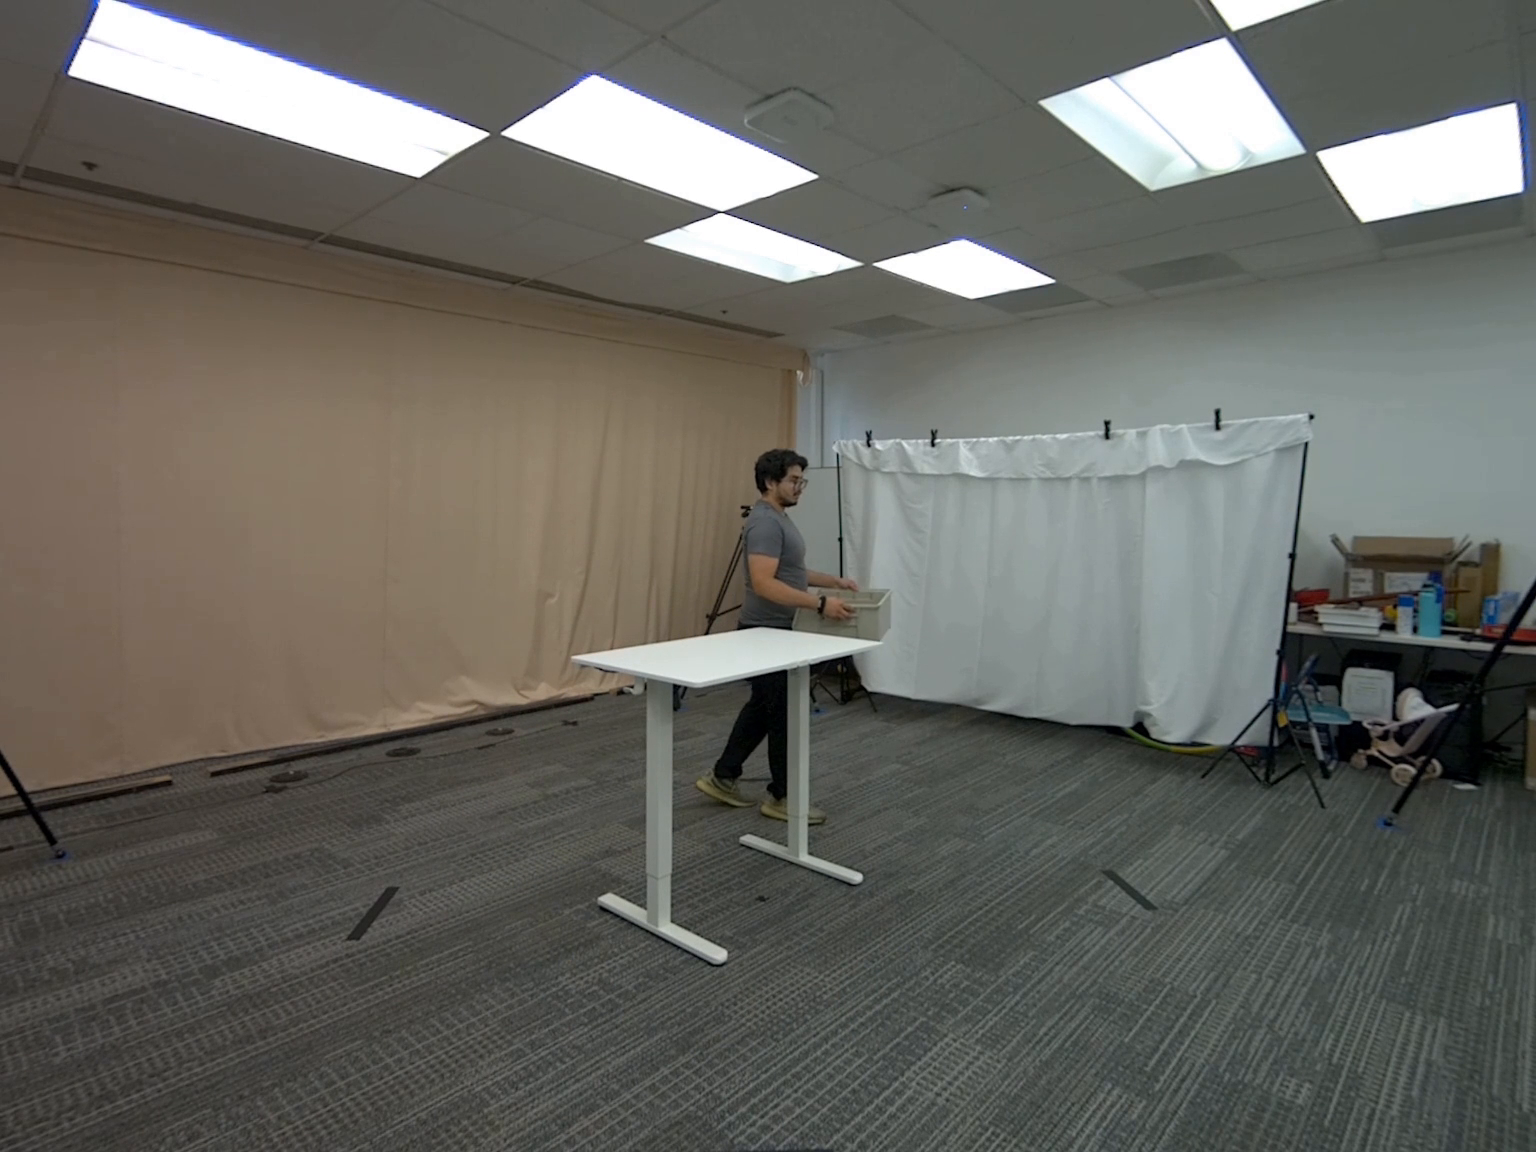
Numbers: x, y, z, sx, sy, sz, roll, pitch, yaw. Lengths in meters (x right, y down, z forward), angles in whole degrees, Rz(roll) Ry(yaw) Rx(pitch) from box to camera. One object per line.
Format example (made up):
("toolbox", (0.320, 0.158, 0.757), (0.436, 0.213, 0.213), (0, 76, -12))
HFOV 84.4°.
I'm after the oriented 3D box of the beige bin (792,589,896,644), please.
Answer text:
("beige bin", (0.341, 0.168, 3.739), (0.385, 0.189, 0.415), (0, 3, 18))
